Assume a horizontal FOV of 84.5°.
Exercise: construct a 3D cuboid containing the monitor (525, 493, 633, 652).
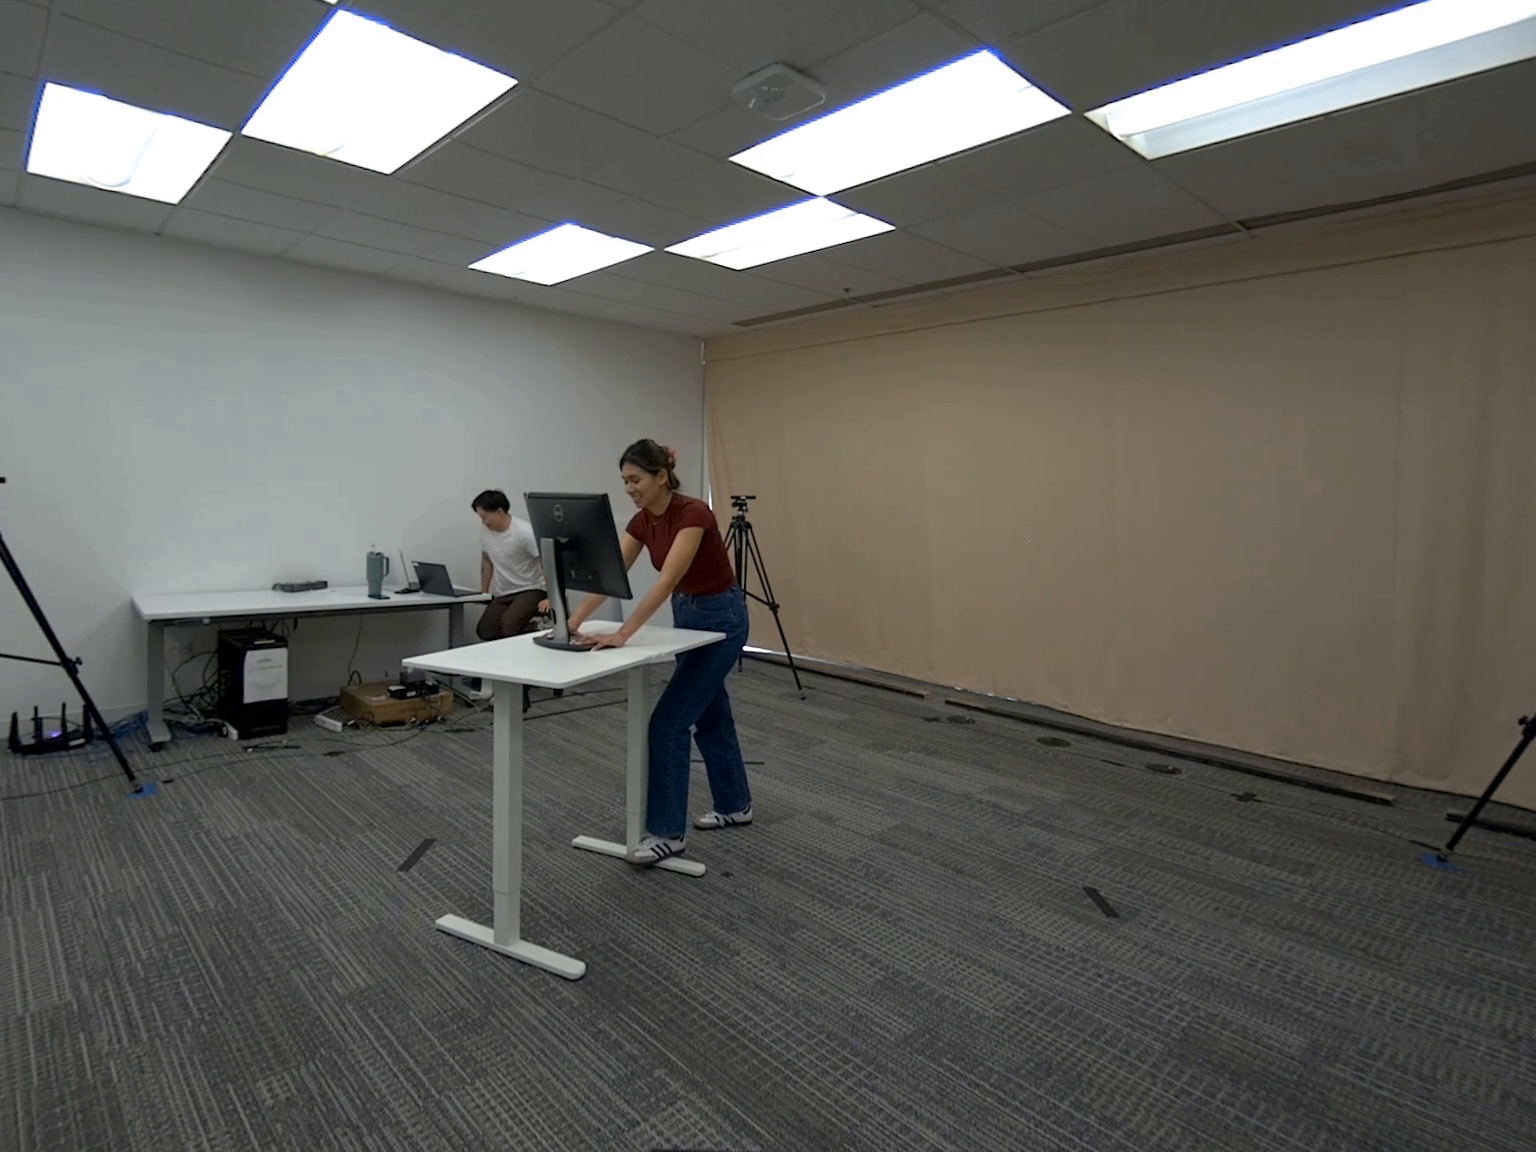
[{"bbox_3d":[-0.687,-0.016,2.821,0.553,0.521,0.183,6,7,44],"label":"monitor"}]
